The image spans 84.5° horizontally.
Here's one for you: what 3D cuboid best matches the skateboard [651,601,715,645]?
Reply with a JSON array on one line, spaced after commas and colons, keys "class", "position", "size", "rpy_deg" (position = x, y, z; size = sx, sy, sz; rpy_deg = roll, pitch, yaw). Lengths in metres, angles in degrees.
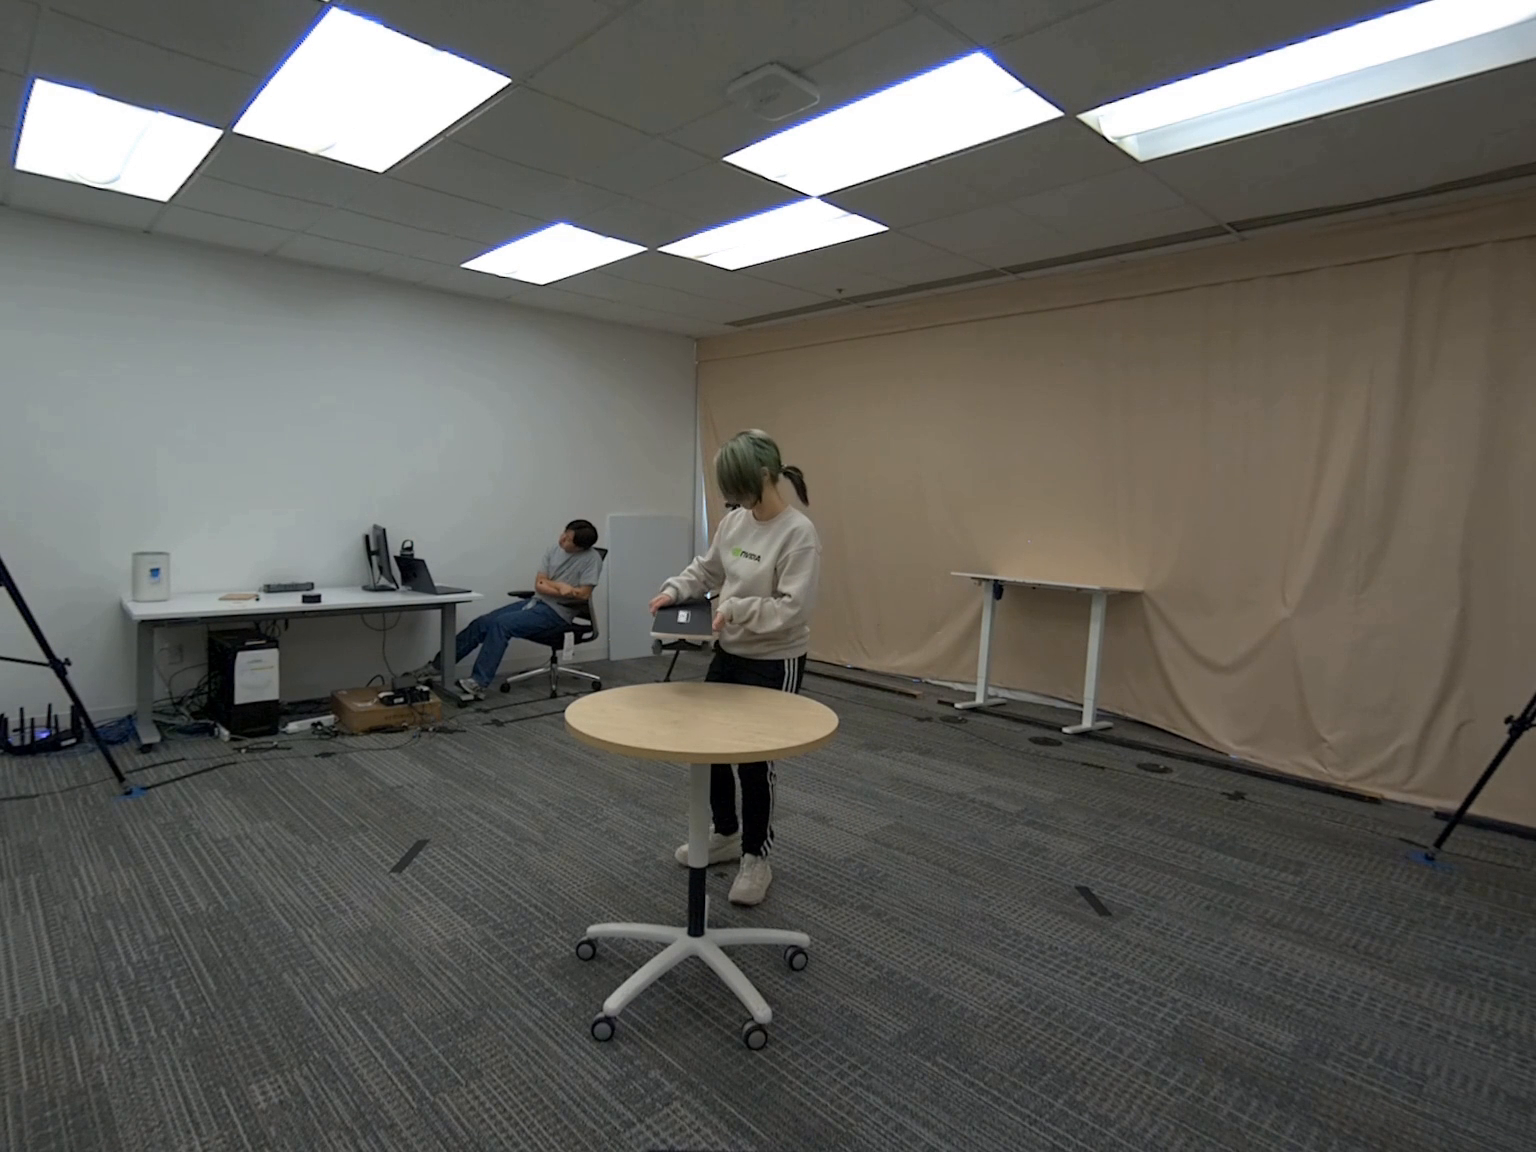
[{"class": "skateboard", "position": [-0.296, 0.181, 2.836], "size": [0.192, 0.110, 0.794], "rpy_deg": [2, 8, -8]}]
